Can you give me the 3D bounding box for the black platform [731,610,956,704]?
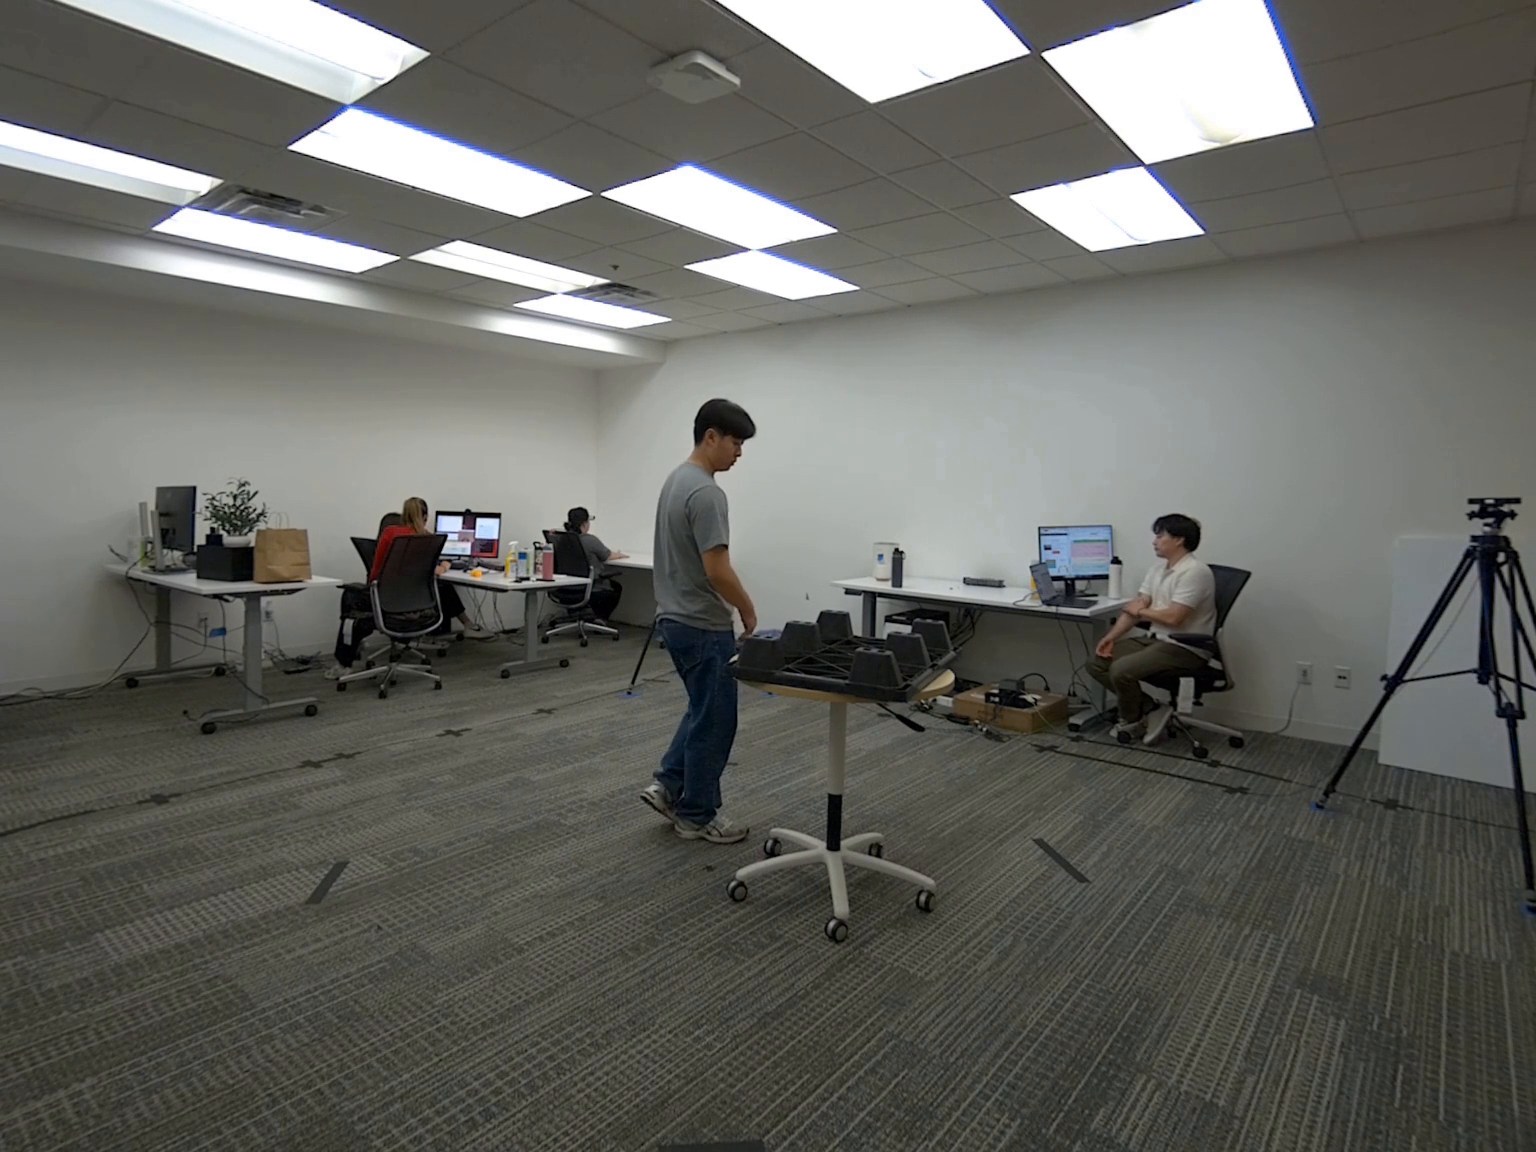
[{"bbox_3d":[0.281,0.247,2.946,0.622,0.142,0.788,5,7,25],"label":"black platform"}]
